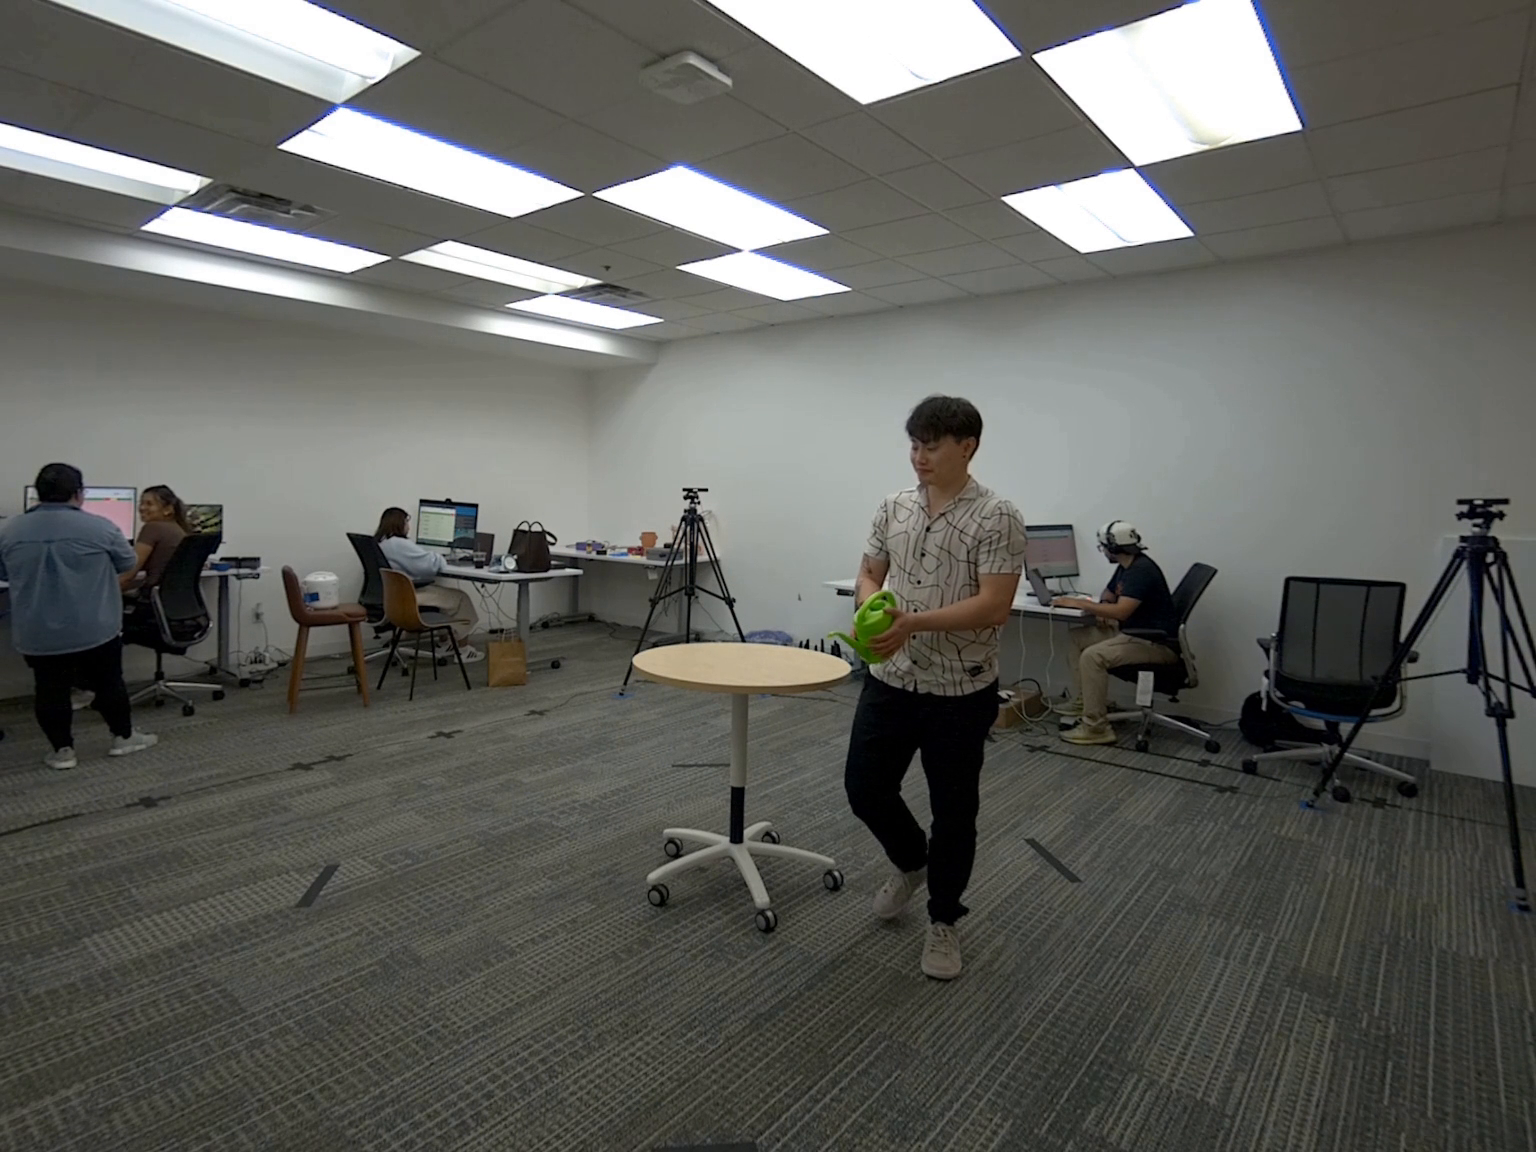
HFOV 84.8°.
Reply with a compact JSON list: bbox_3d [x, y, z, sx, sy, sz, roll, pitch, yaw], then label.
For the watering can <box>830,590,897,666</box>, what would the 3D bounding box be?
[{"bbox_3d":[0.260,0.161,2.354,0.275,0.172,0.102,-28,28,-21],"label":"watering can"}]
